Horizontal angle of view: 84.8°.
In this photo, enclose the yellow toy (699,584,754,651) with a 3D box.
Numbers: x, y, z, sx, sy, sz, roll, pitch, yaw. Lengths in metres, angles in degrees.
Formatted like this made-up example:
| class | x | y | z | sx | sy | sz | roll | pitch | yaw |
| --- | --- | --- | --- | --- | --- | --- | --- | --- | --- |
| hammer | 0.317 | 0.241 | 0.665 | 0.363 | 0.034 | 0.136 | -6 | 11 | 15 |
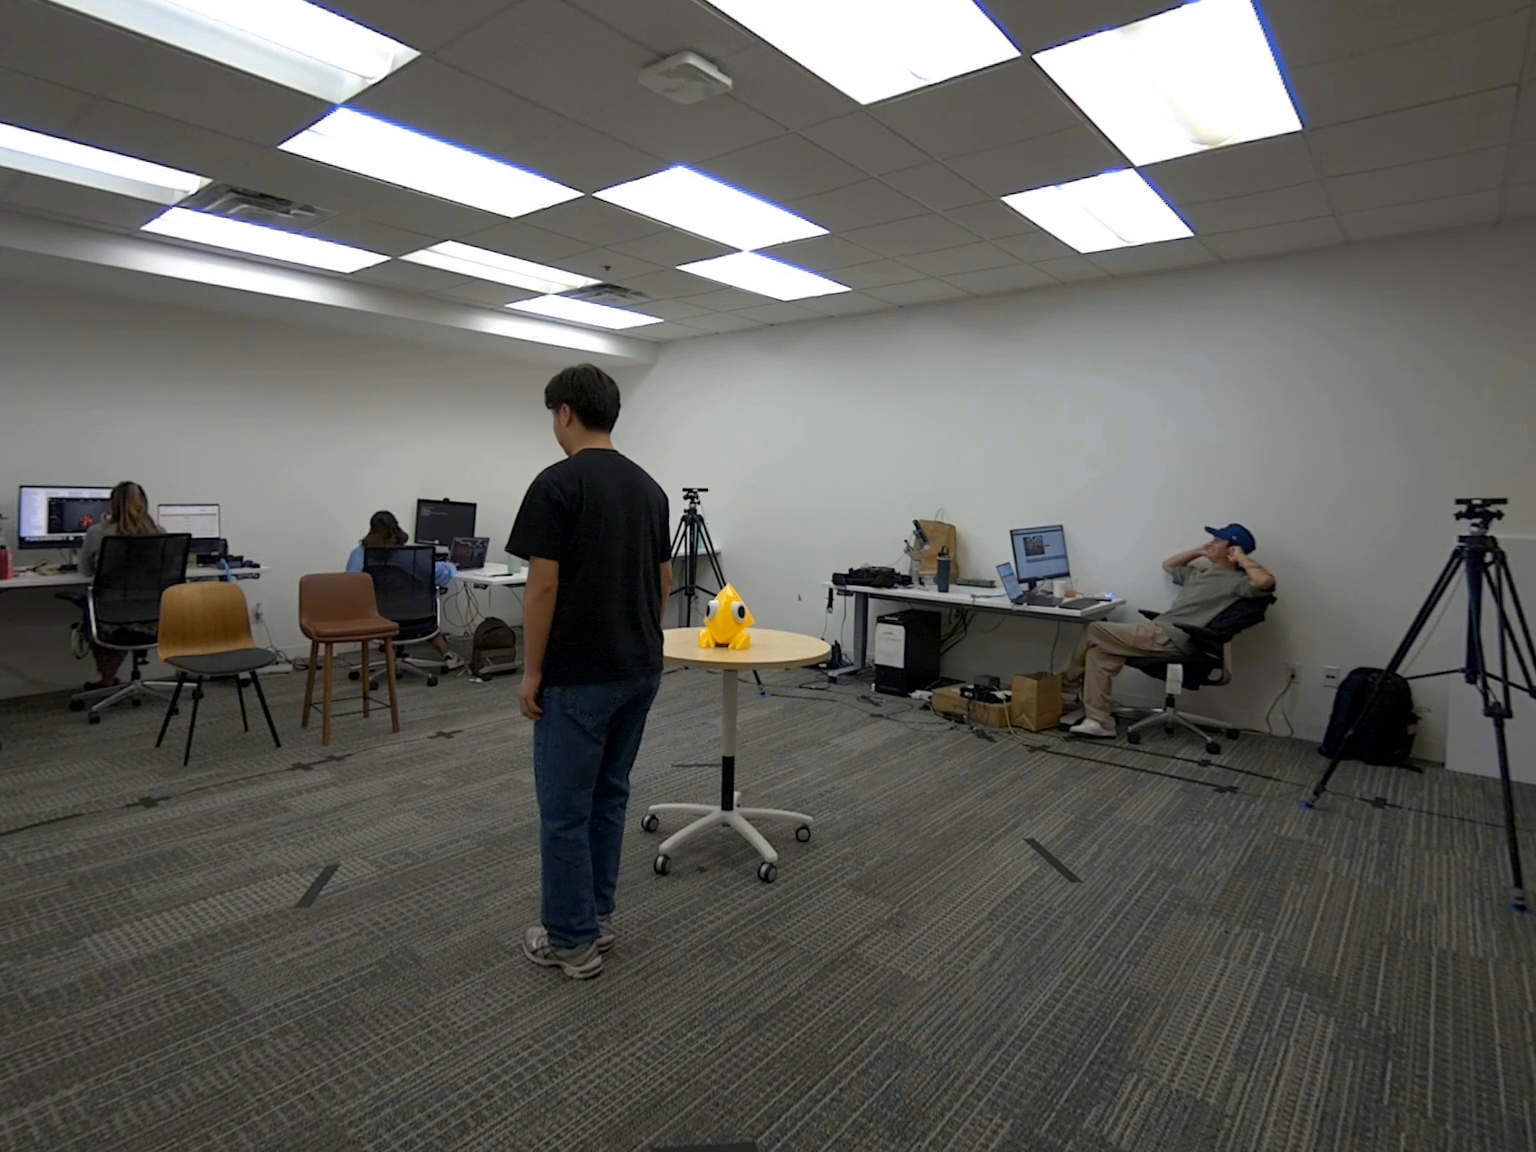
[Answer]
| class | x | y | z | sx | sy | sz | roll | pitch | yaw |
| --- | --- | --- | --- | --- | --- | --- | --- | --- | --- |
| yellow toy | -0.172 | 0.144 | 3.244 | 0.207 | 0.230 | 0.192 | 2 | 3 | 8 |
